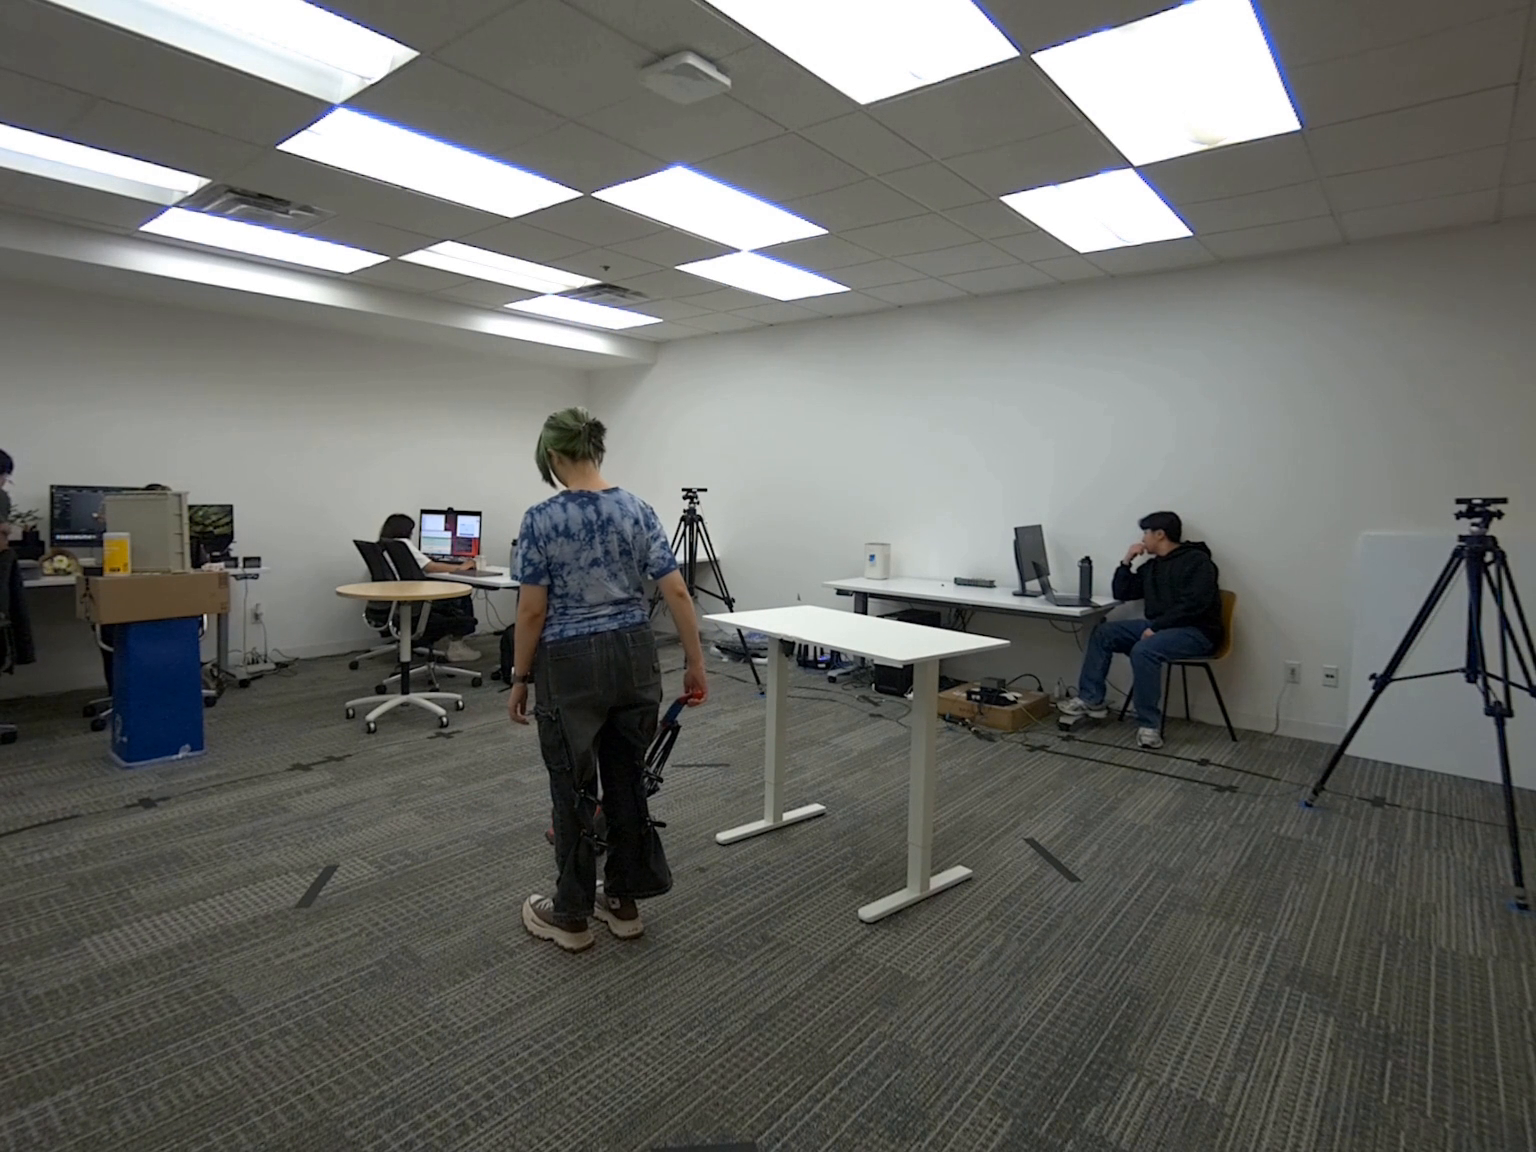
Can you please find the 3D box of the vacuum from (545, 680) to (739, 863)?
[{"bbox_3d":[-0.475,0.702,2.919,0.245,0.149,1.045,2,-37,-36],"label":"vacuum"}]
